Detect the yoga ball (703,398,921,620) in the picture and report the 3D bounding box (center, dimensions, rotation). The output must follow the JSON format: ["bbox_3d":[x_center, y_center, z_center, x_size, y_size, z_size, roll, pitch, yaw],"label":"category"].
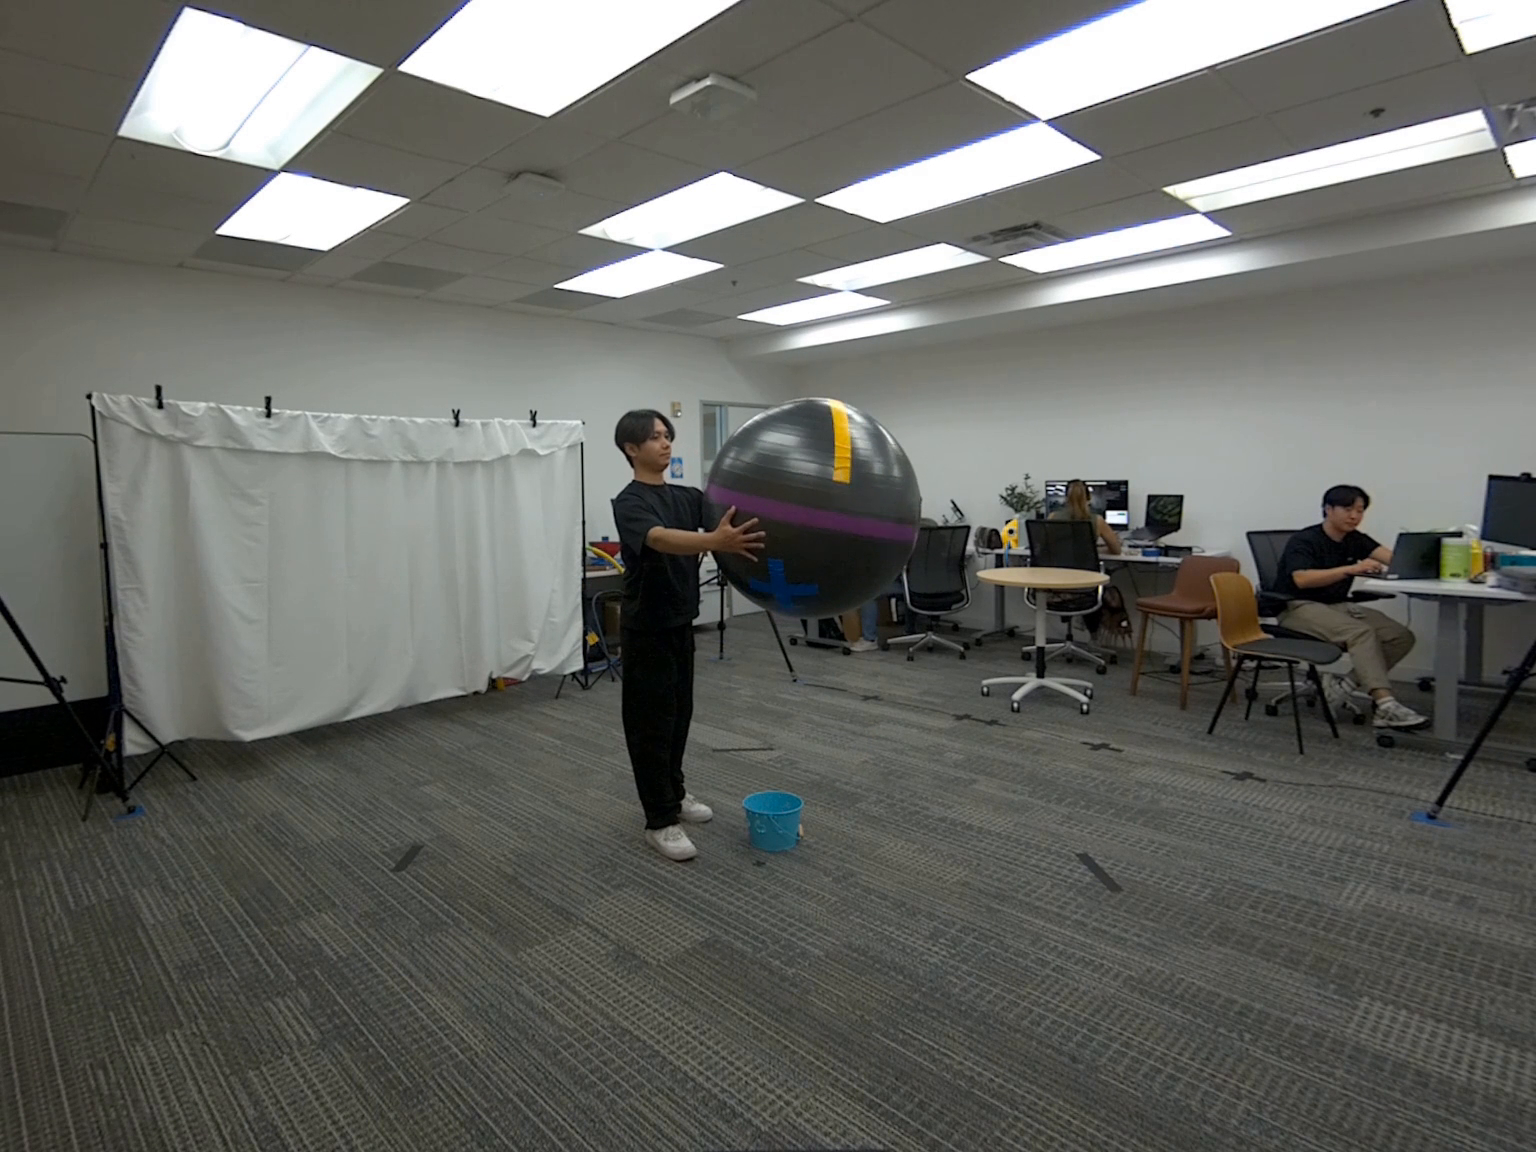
[{"bbox_3d":[0.157,-0.225,2.981,0.757,0.755,0.762,-1,5,-2],"label":"yoga ball"}]
